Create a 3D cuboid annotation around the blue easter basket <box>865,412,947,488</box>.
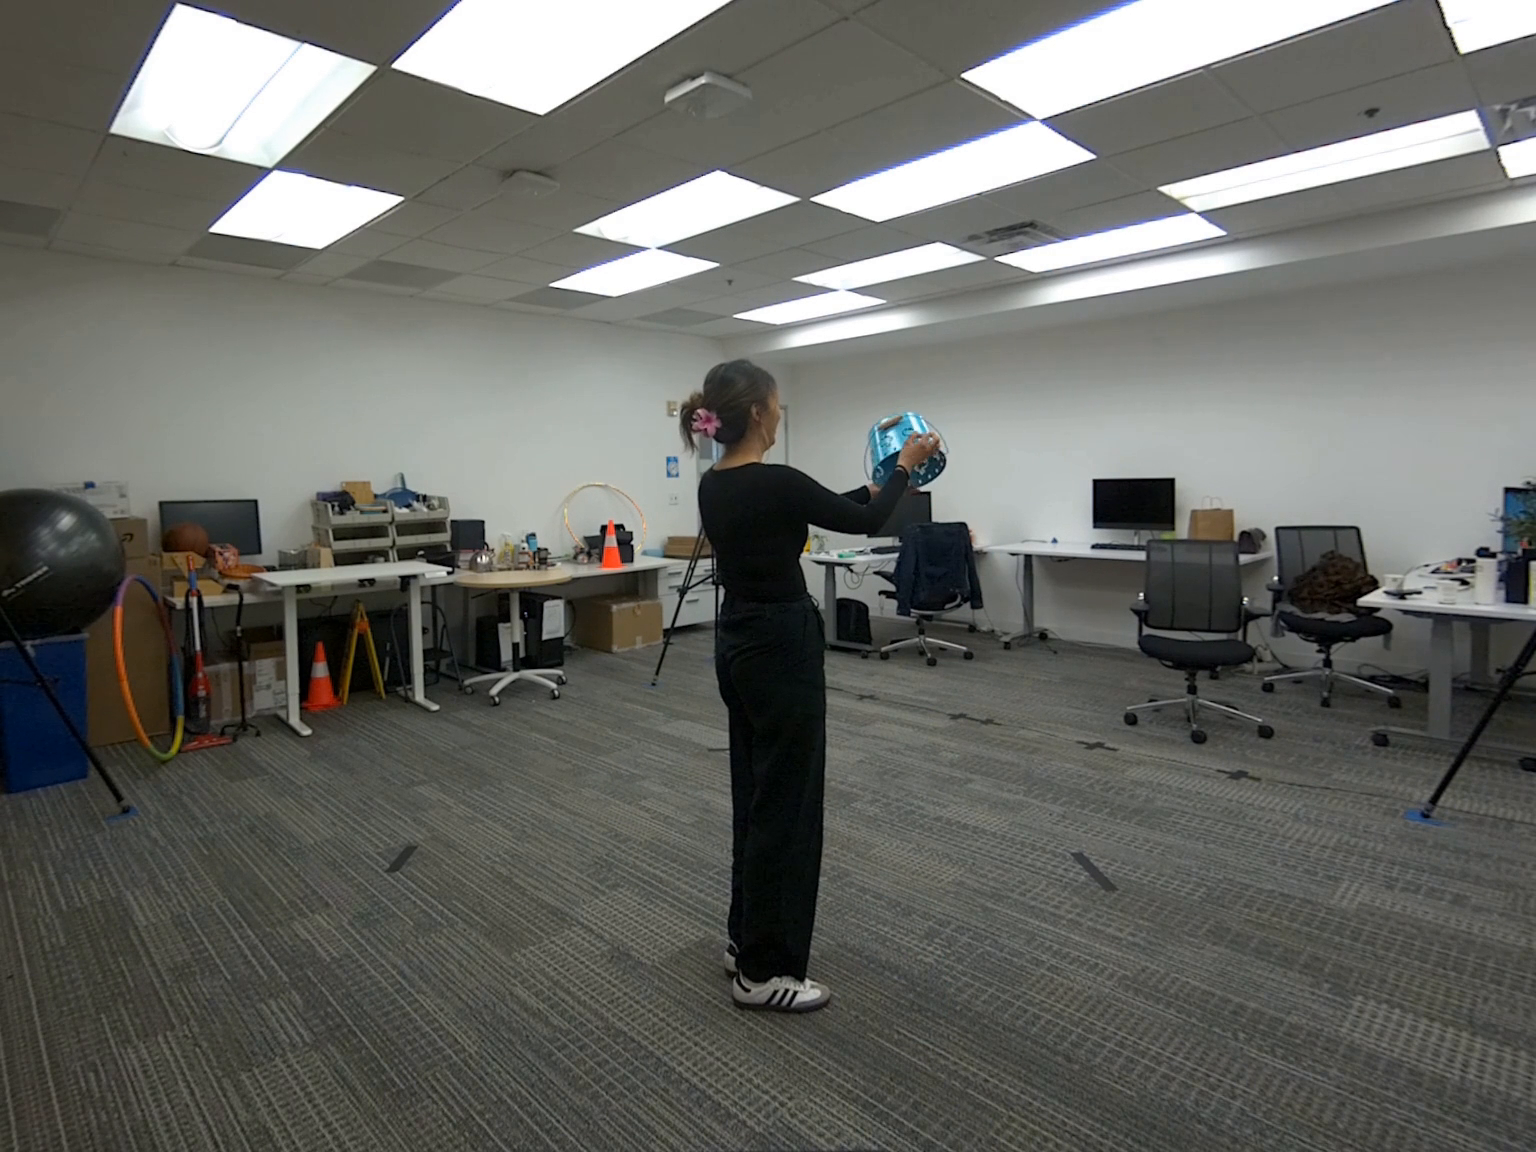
[{"bbox_3d":[0.422,-0.392,2.624,0.242,0.160,0.238,-8,-29,-6],"label":"blue easter basket"}]
